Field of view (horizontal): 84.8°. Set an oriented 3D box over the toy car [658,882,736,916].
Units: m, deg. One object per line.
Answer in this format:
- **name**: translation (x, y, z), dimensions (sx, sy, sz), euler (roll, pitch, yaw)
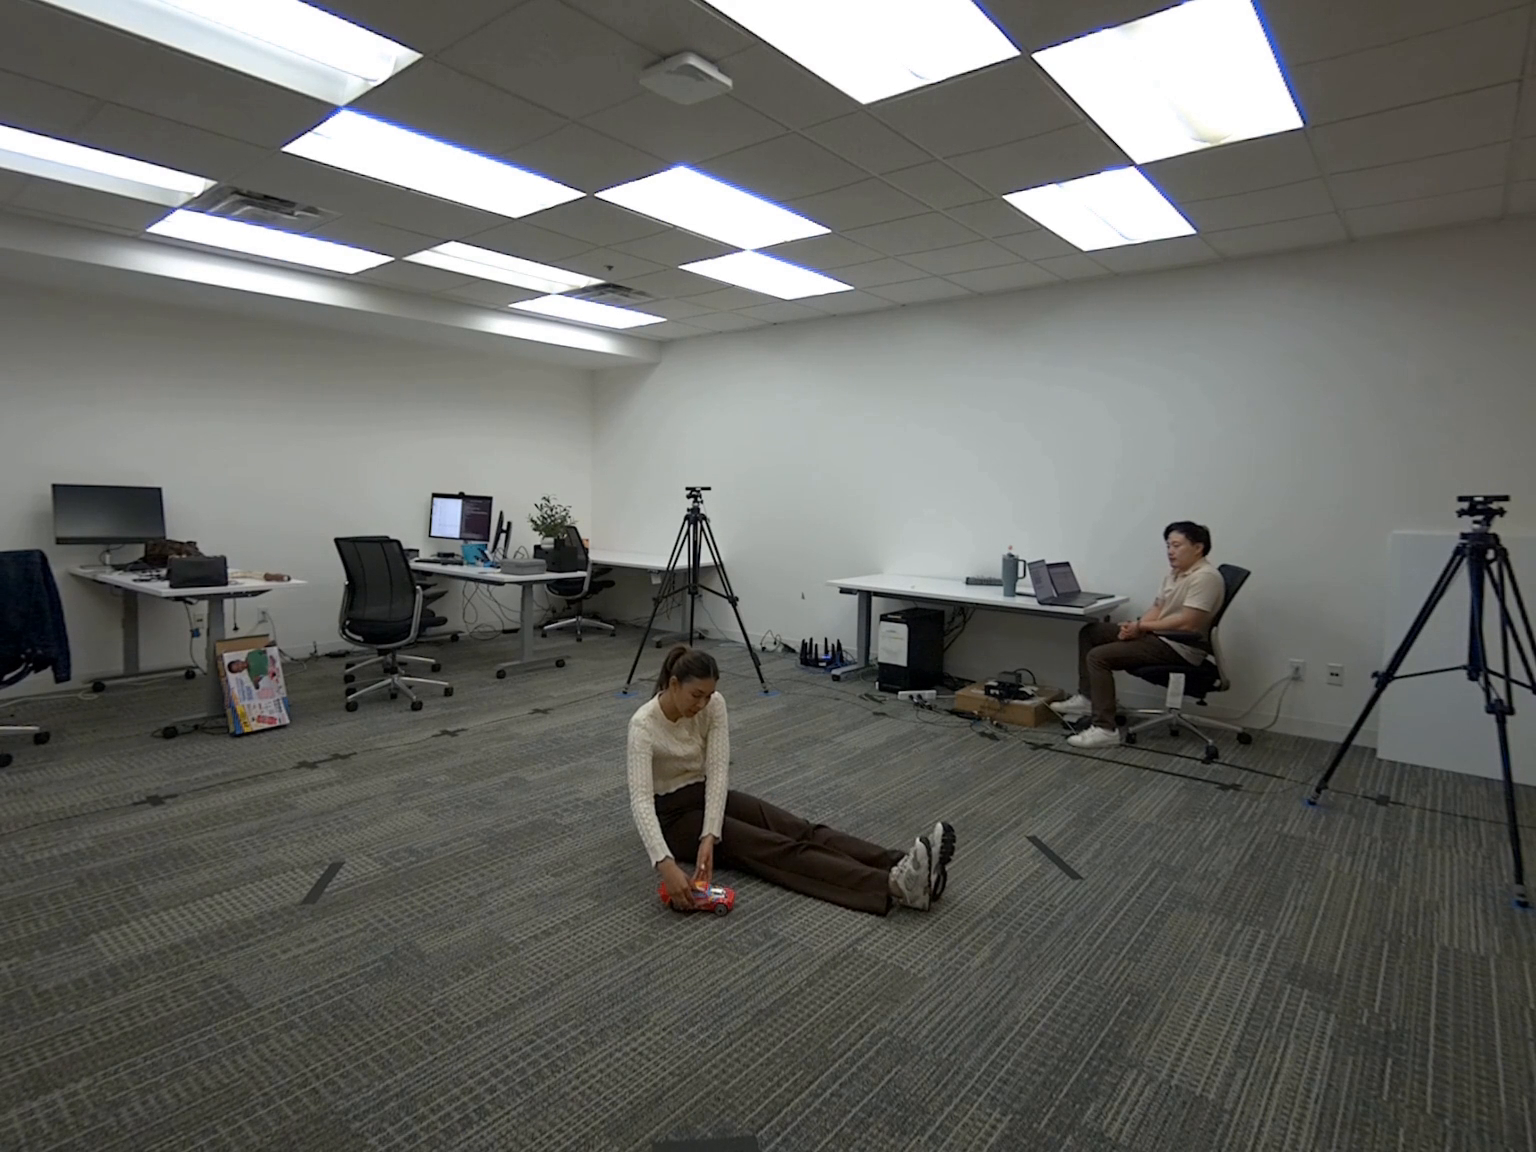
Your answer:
- **toy car**: translation (-0.251, 1.053, 2.829), dimensions (0.257, 0.083, 0.130), euler (9, 7, 6)
